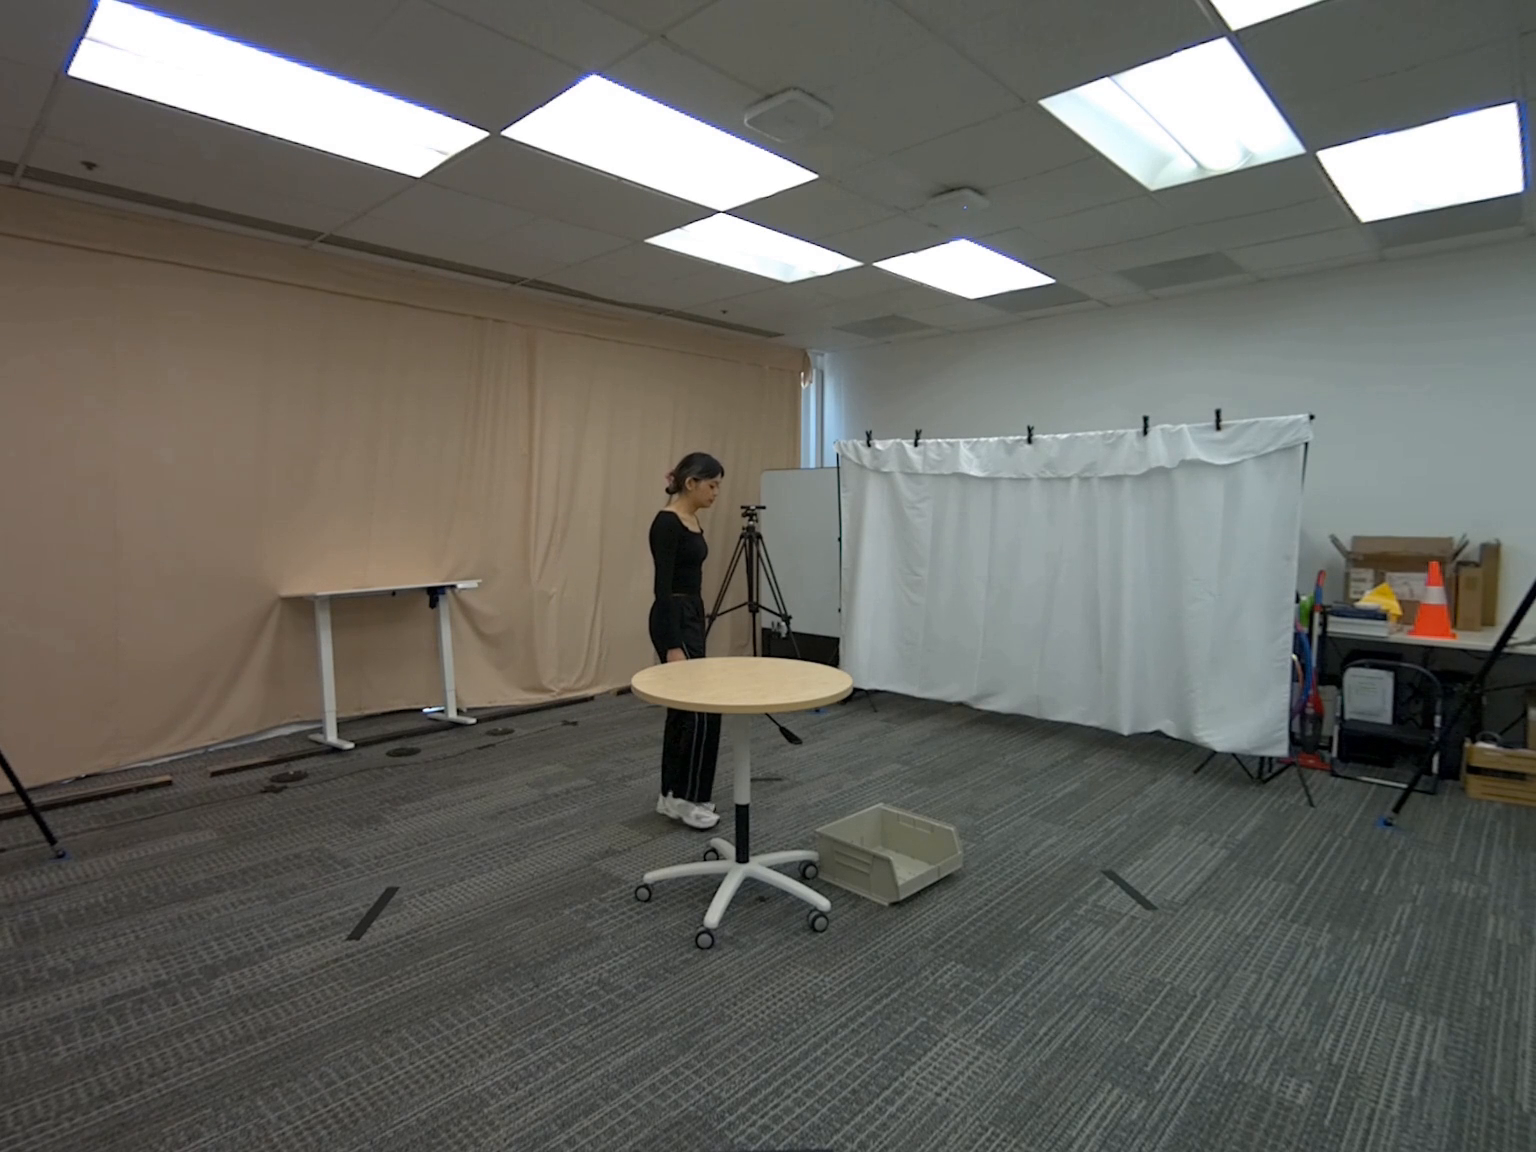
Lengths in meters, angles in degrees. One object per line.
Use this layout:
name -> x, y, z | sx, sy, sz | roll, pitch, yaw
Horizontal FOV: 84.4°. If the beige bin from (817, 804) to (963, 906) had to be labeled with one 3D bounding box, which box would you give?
beige bin -> 0.459, 1.042, 3.157 | 0.390, 0.188, 0.409 | 3, 6, 45
